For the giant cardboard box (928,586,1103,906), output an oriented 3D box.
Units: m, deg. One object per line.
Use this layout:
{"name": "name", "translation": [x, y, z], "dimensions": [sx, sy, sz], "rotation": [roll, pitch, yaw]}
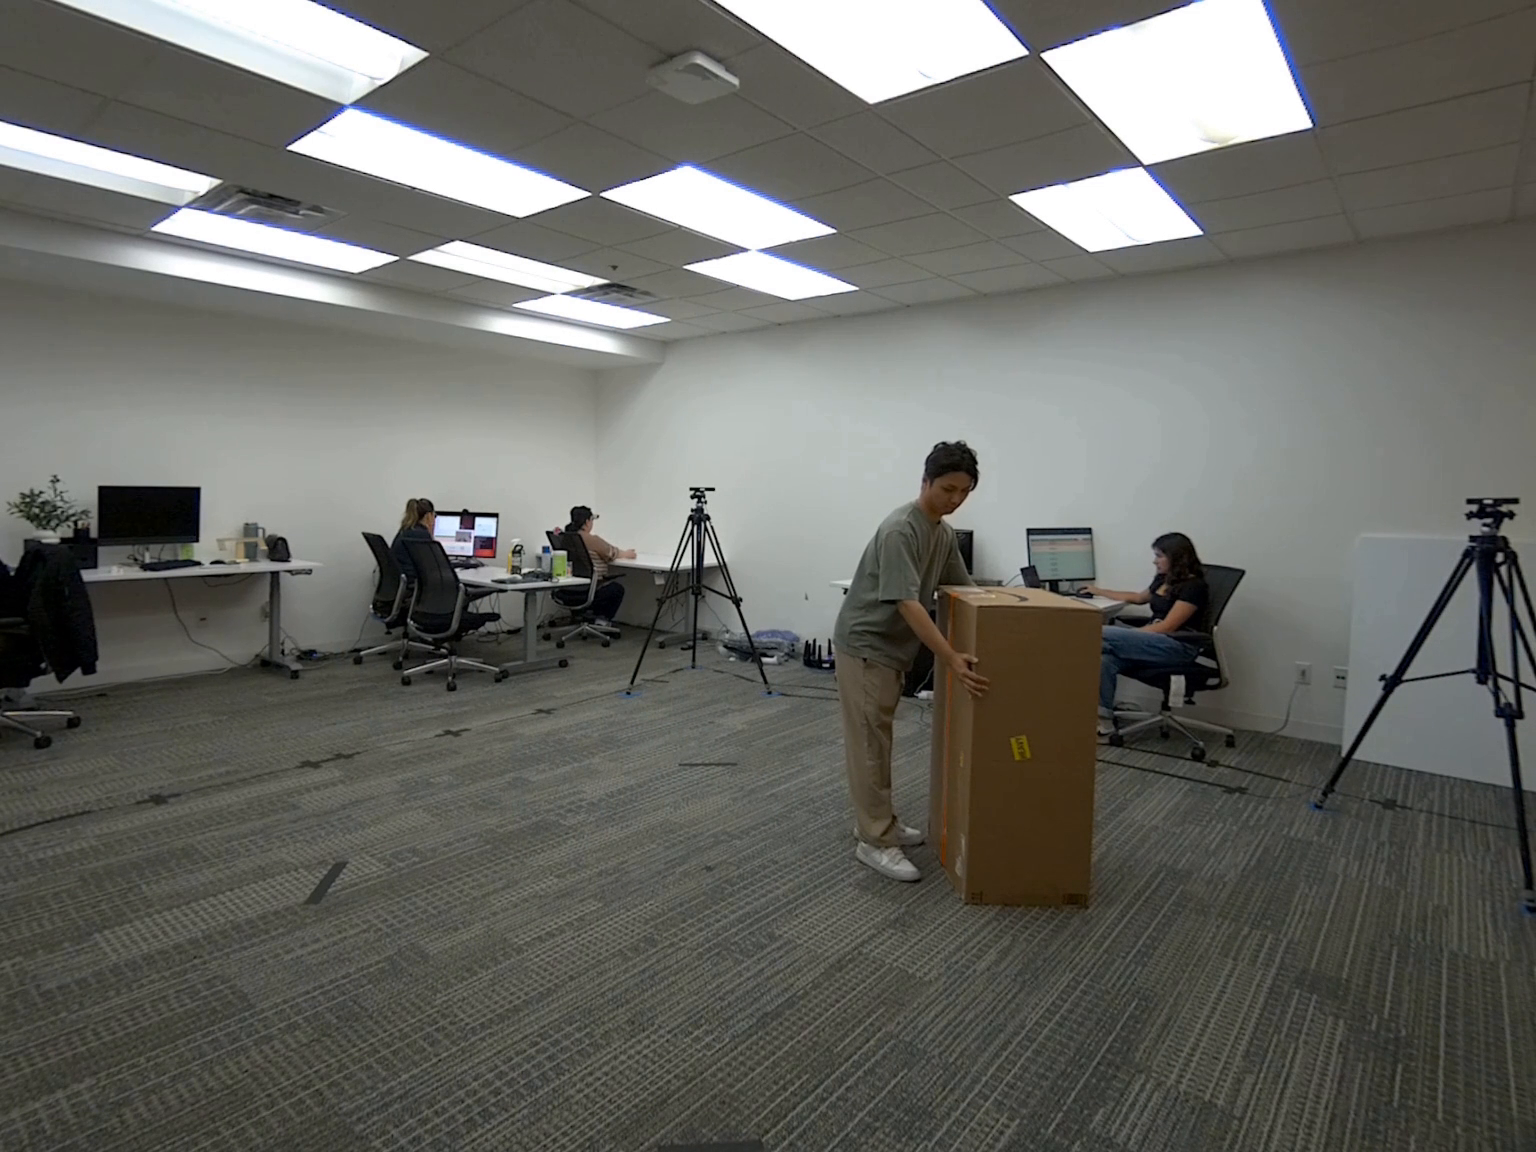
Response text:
{"name": "giant cardboard box", "translation": [0.880, 0.582, 3.145], "dimensions": [0.426, 1.023, 0.580], "rotation": [1, 4, -1]}
